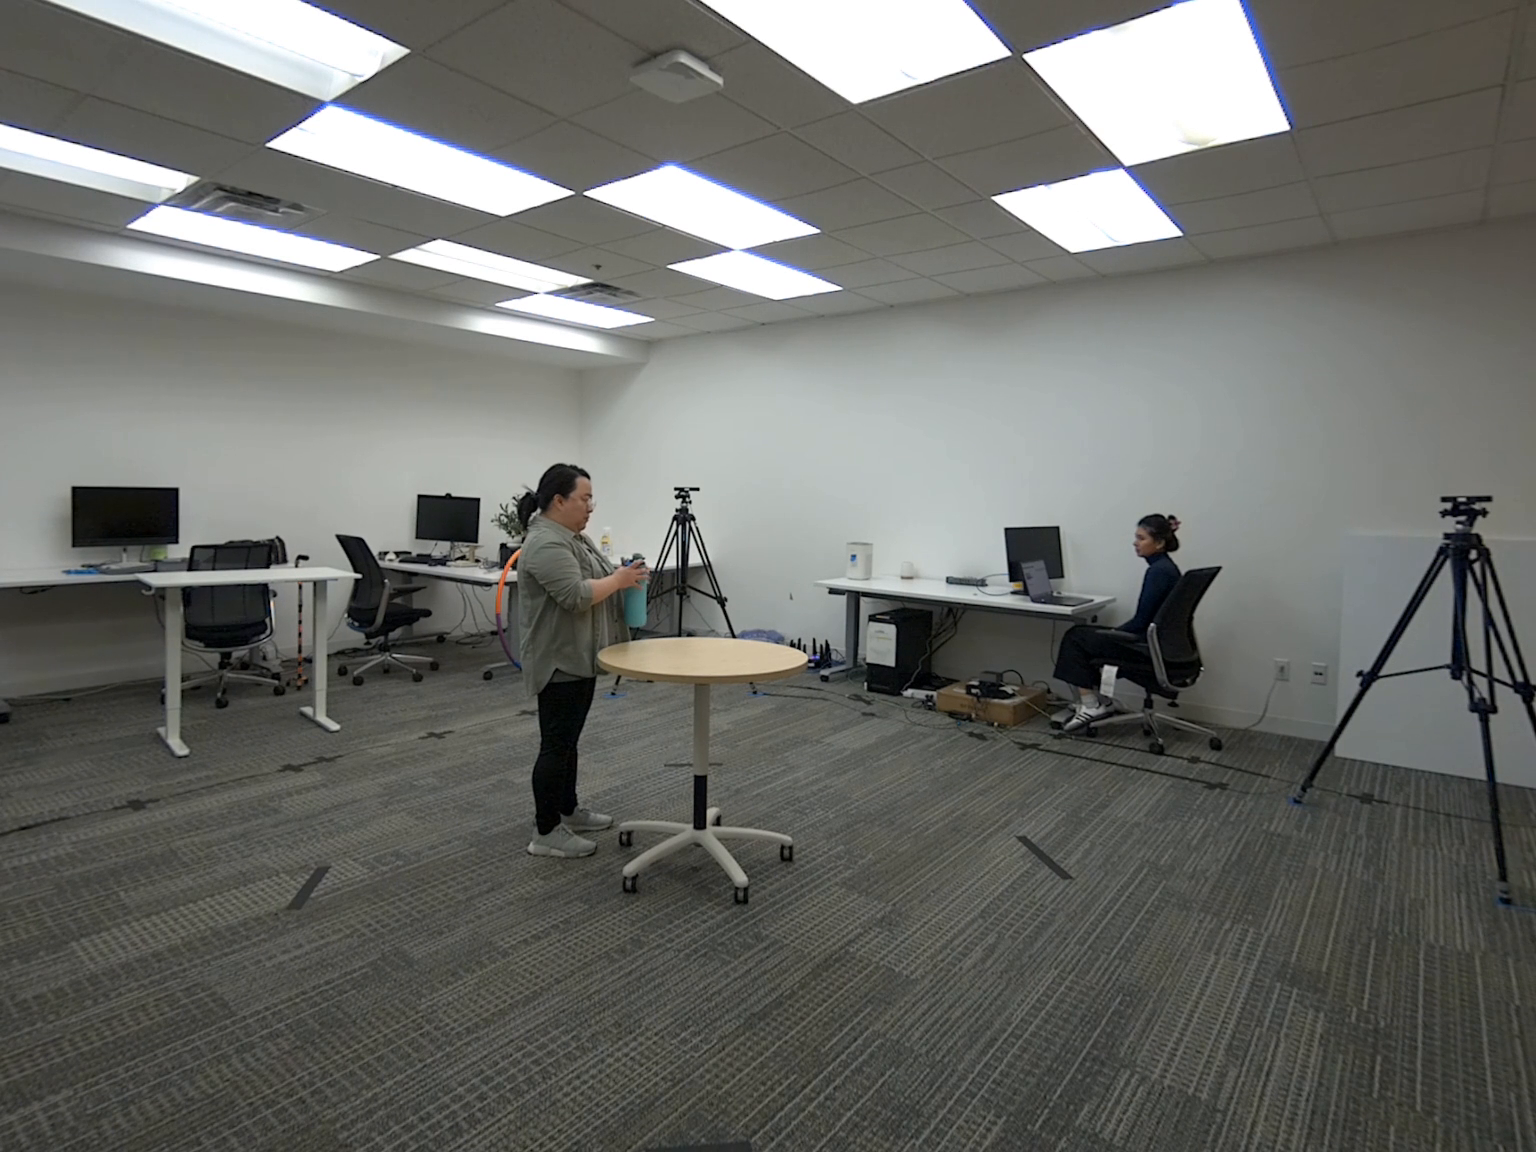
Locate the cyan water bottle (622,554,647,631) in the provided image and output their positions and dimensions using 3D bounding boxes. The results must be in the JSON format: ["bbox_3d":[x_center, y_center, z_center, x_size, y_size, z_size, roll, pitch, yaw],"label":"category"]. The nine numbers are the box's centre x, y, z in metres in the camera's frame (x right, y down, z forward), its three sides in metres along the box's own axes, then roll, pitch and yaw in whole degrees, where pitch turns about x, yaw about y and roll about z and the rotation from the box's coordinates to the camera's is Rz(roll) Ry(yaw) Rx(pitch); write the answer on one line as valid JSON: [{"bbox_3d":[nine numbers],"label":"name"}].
[{"bbox_3d":[-0.545,0.057,3.366,0.092,0.280,0.093,2,11,-2],"label":"cyan water bottle"}]
